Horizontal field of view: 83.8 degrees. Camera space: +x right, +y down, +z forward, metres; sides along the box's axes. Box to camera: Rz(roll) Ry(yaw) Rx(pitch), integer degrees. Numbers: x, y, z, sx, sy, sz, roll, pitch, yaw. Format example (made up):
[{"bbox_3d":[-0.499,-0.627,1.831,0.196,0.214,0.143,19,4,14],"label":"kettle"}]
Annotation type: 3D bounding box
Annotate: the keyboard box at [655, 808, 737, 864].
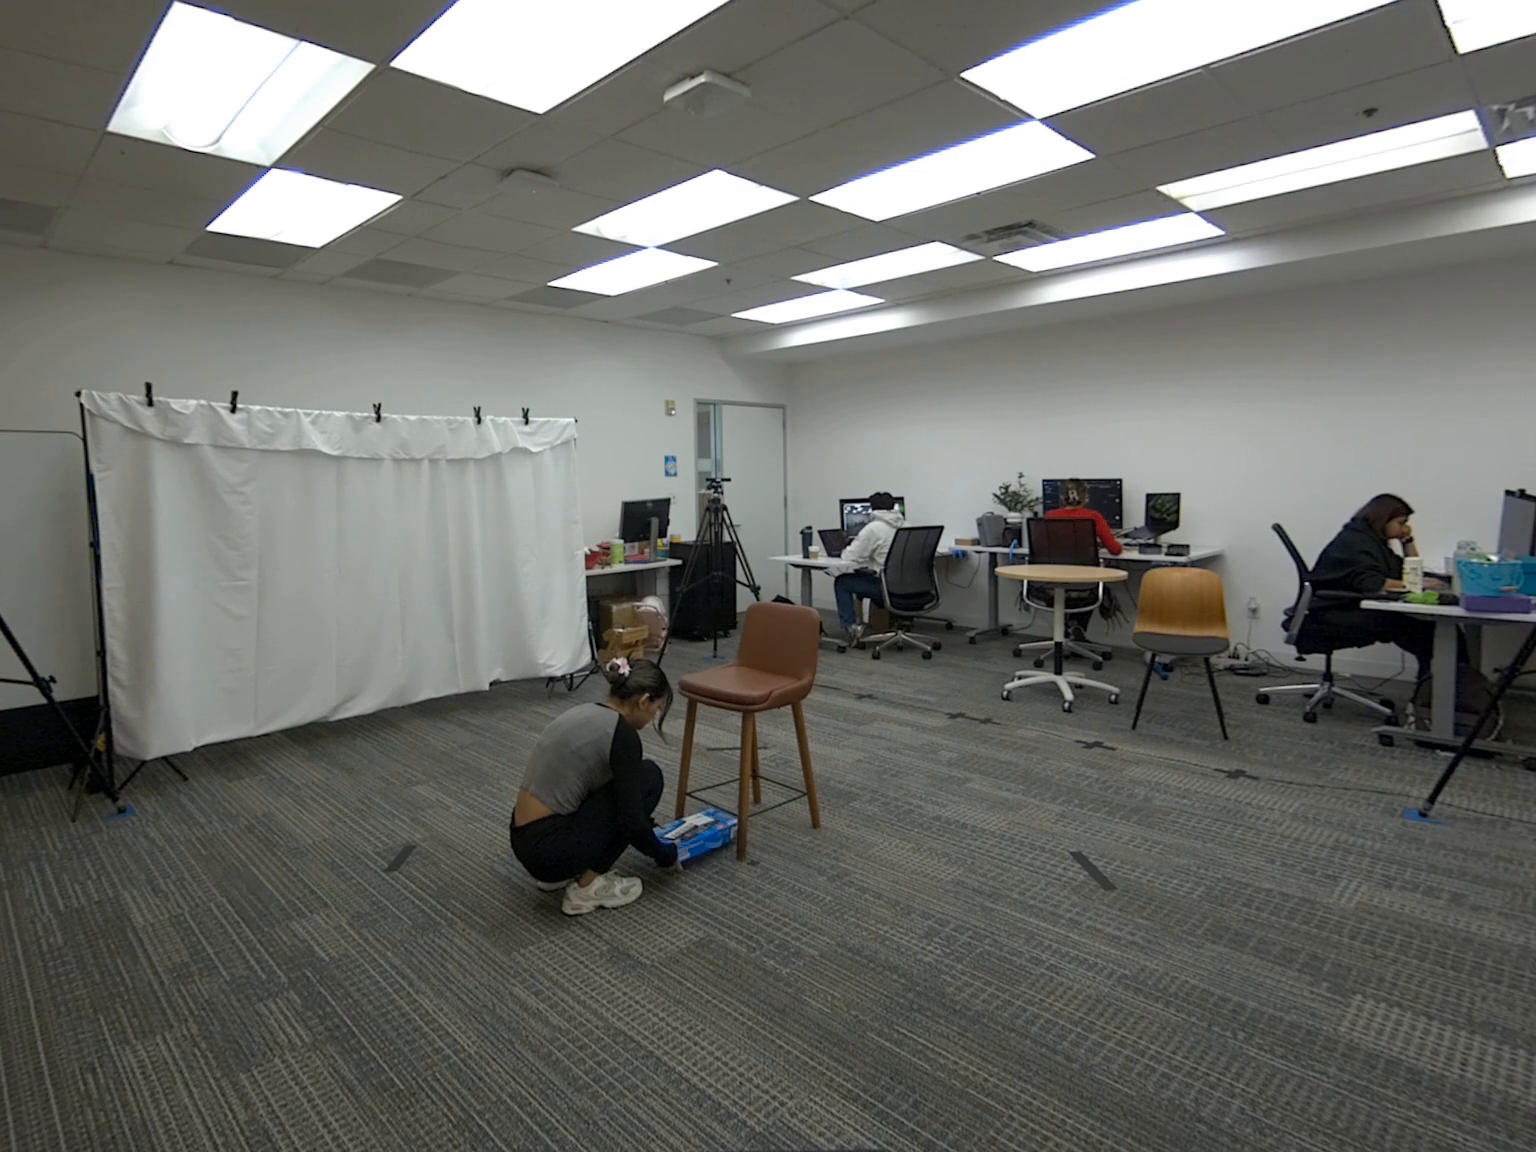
[{"bbox_3d":[-0.273,0.956,3.167,0.181,0.059,0.425,7,4,33],"label":"keyboard box"}]
